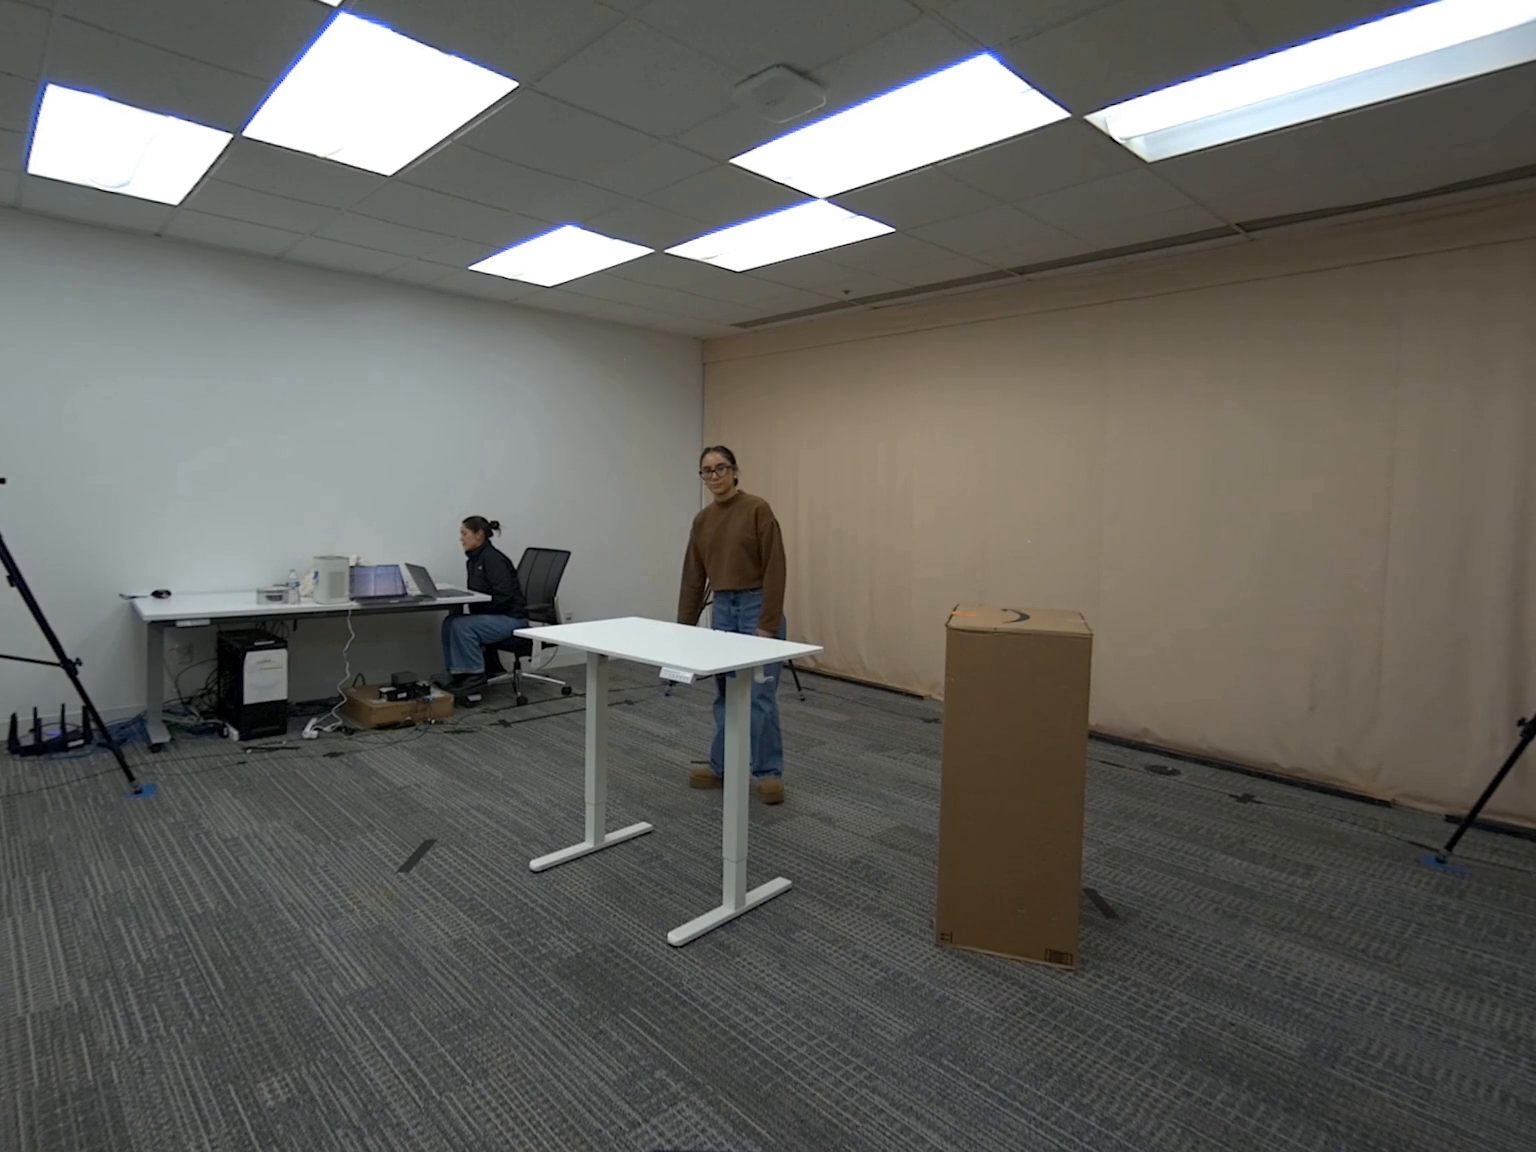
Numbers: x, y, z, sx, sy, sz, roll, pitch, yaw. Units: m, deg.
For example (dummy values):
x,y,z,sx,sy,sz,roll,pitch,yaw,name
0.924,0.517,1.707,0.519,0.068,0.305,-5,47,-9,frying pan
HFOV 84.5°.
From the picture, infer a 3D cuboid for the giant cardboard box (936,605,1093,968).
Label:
x,y,z,sx,sy,sz,roll,pitch,yaw,name
0.813,0.646,2.830,0.432,1.023,0.571,3,4,17,giant cardboard box
